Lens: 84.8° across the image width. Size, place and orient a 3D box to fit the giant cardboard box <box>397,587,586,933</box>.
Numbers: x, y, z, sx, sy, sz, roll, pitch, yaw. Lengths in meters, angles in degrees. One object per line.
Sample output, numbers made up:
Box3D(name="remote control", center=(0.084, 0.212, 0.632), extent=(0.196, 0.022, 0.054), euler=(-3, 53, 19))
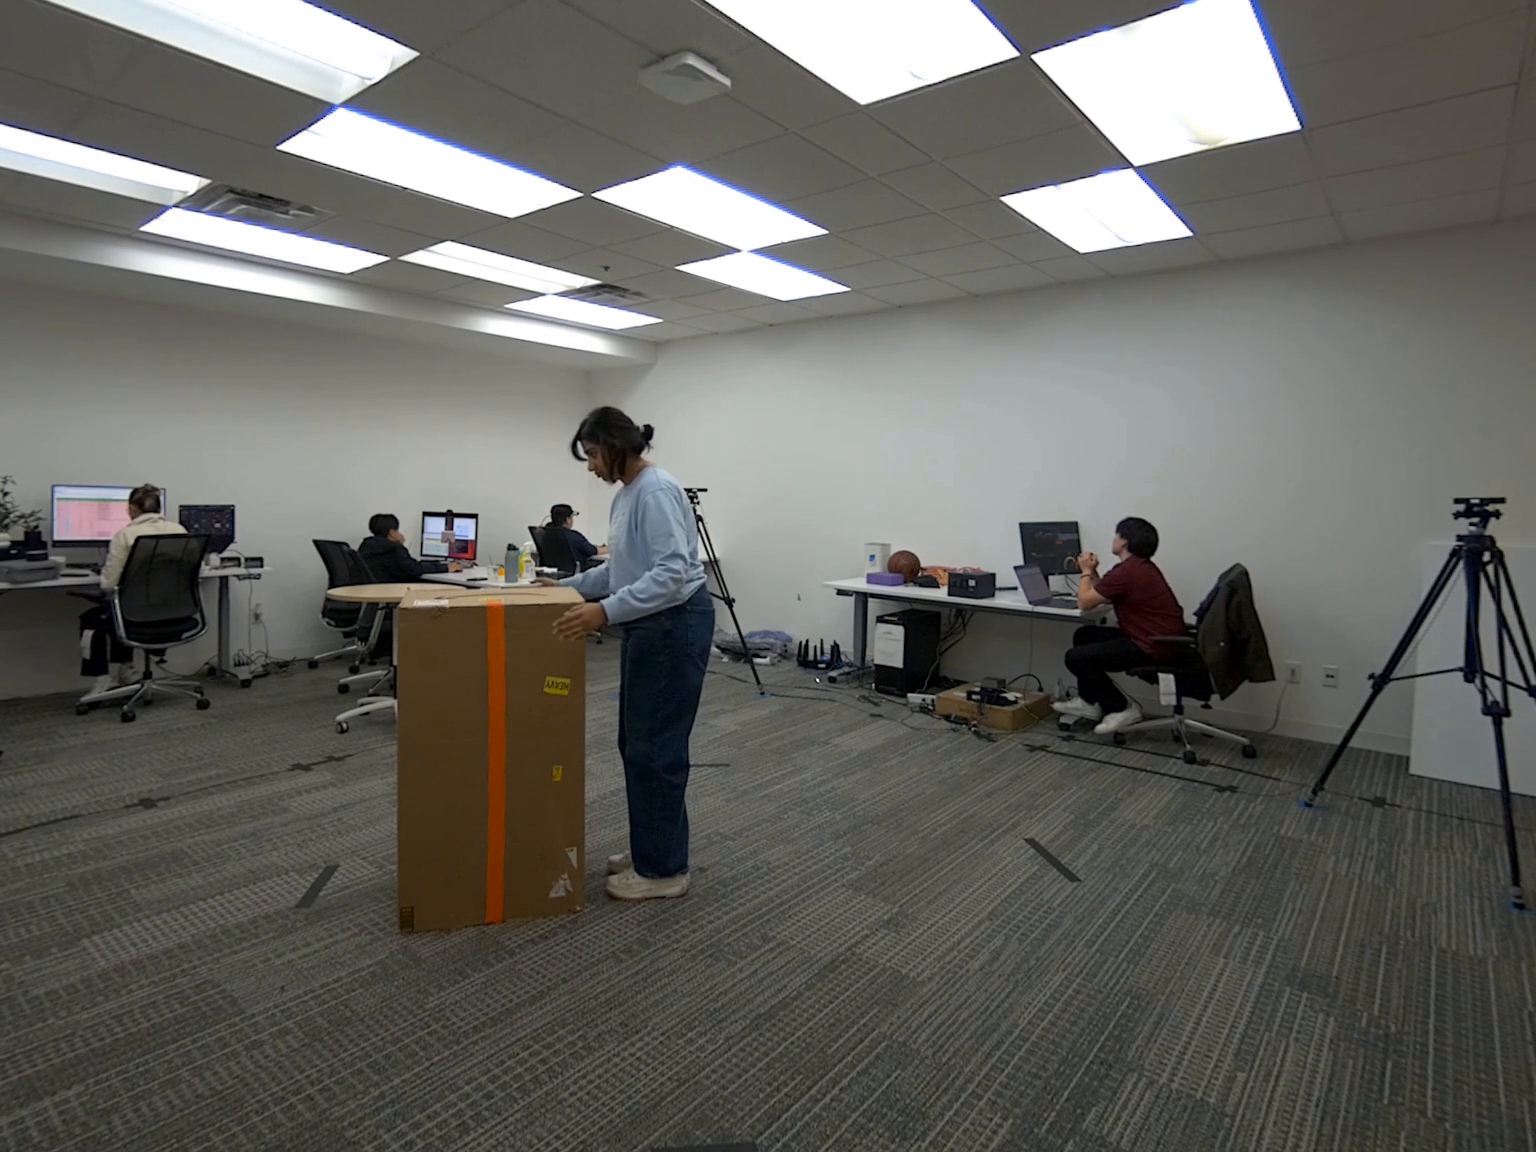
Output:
Box3D(name="giant cardboard box", center=(-0.947, 0.572, 2.870), extent=(0.574, 1.023, 0.456), euler=(0, 4, -17))
